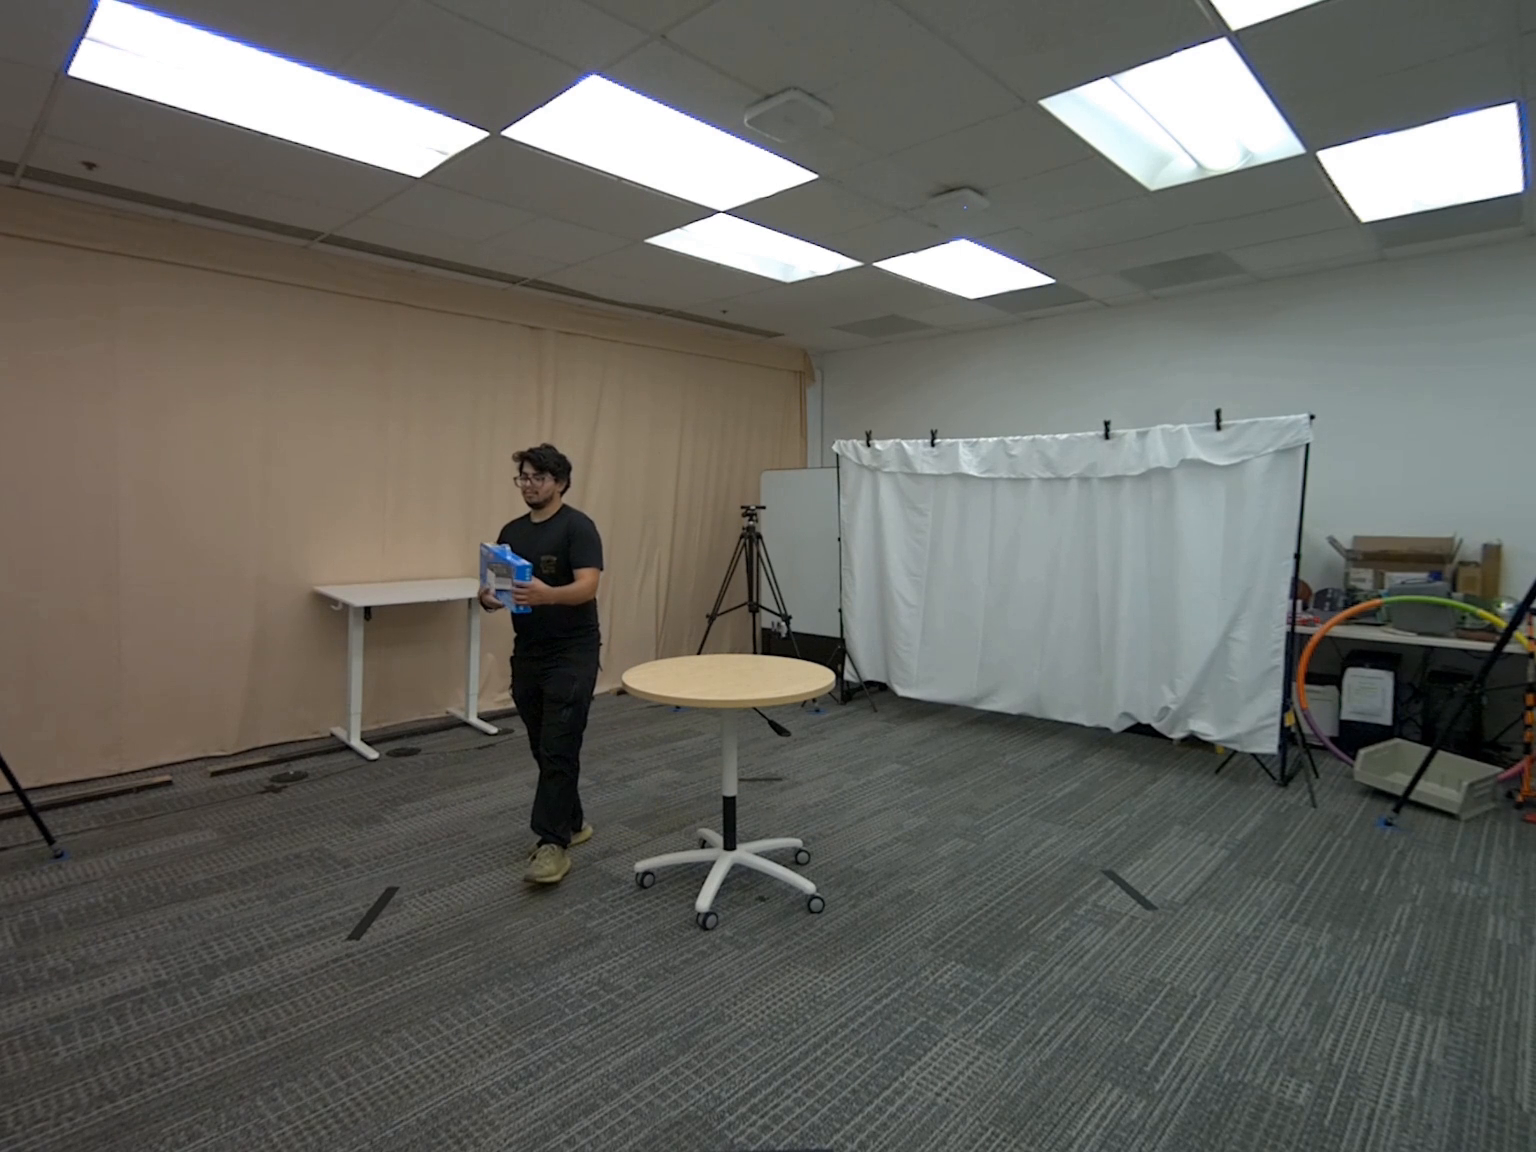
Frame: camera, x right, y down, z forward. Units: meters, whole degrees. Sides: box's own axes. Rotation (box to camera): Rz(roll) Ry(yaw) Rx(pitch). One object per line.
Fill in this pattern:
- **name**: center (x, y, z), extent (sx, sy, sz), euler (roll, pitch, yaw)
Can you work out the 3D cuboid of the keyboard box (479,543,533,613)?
- **keyboard box**: center (-0.967, 0.002, 3.098), extent (0.057, 0.175, 0.452), euler (-2, 13, -33)
